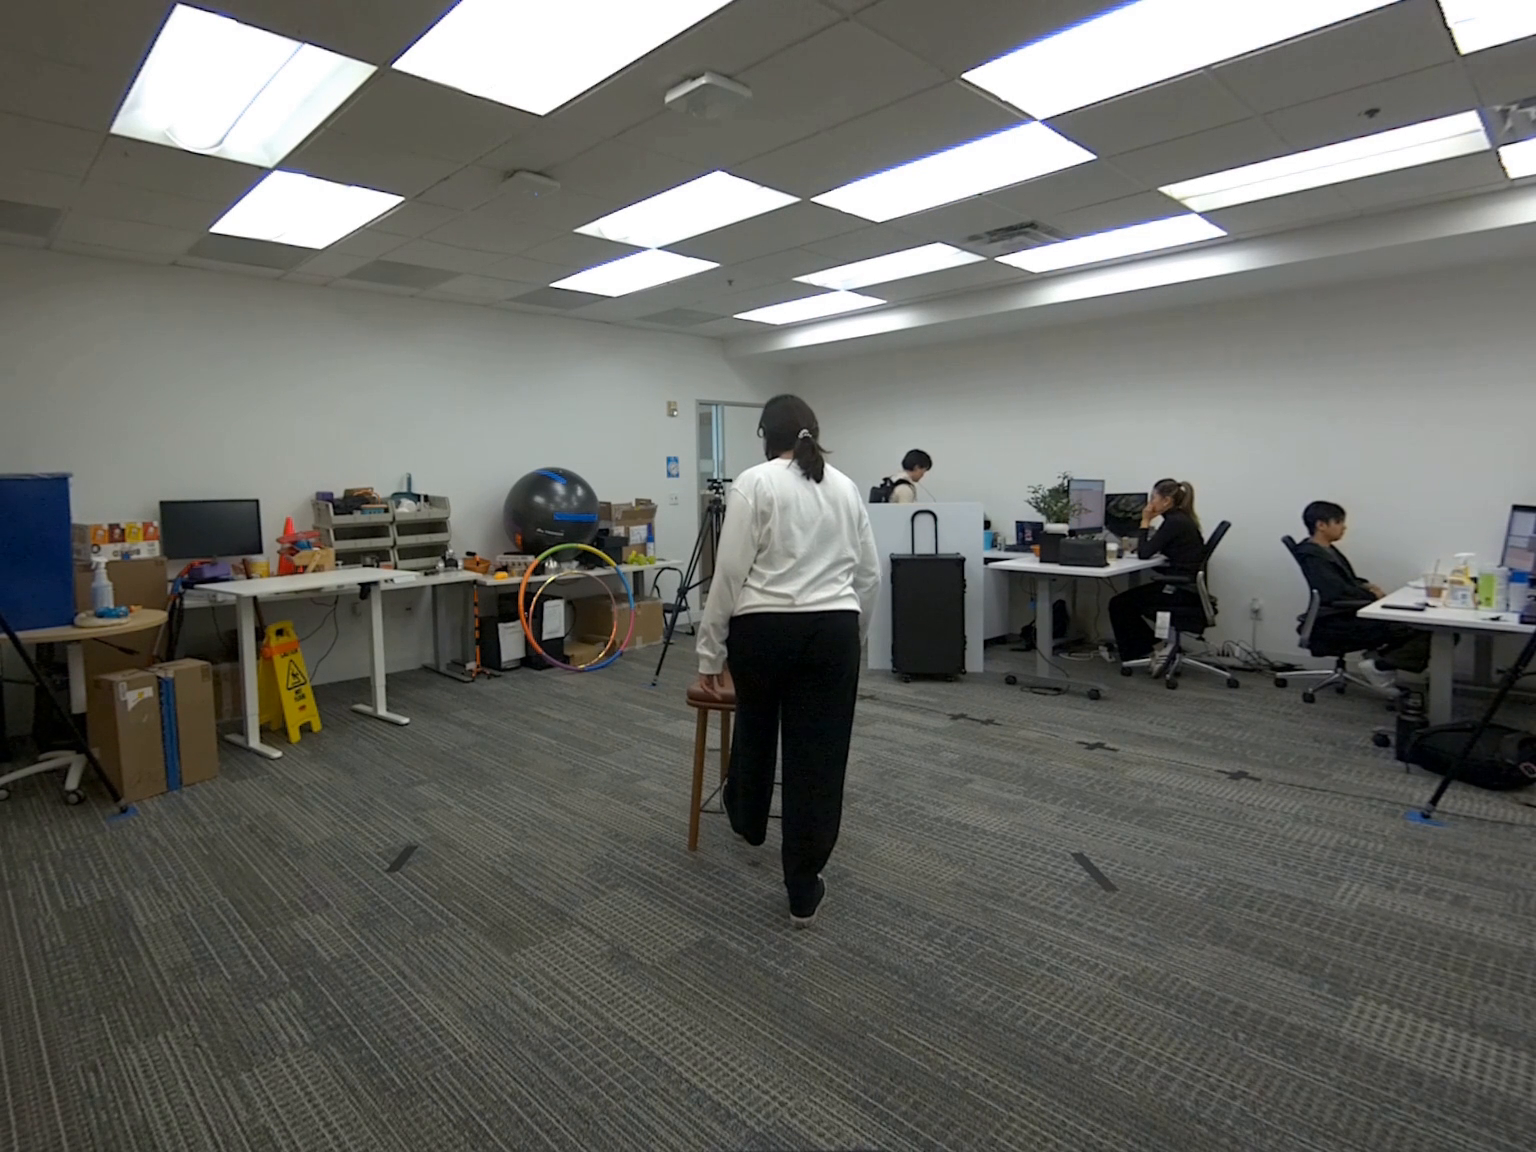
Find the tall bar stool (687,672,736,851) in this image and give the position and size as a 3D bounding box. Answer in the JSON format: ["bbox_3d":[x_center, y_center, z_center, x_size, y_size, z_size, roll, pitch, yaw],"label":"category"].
[{"bbox_3d":[-0.059,0.582,3.373,0.463,0.888,0.462,1,3,14],"label":"tall bar stool"}]
